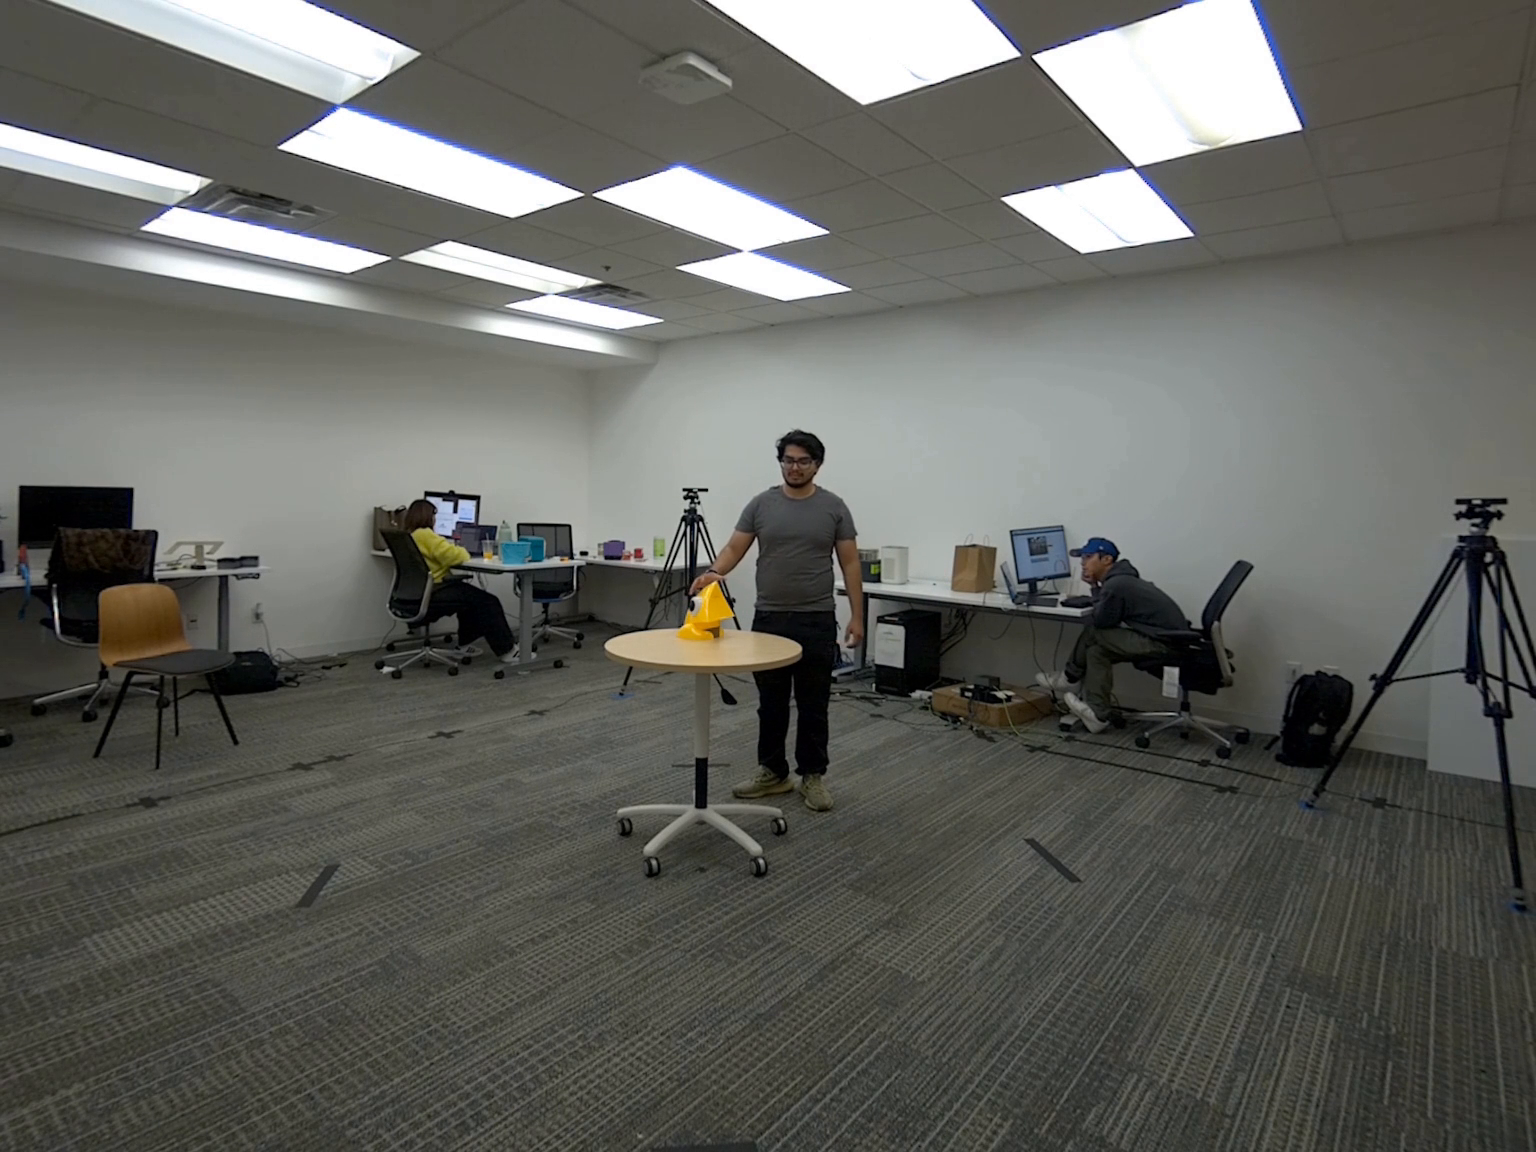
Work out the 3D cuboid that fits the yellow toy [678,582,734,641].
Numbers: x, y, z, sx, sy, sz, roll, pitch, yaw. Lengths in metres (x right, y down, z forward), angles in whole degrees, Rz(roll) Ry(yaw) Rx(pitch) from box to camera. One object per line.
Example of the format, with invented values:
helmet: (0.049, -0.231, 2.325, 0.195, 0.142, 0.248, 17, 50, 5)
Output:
yellow toy: (-0.282, 0.131, 3.511, 0.199, 0.230, 0.199, 2, 4, 31)
